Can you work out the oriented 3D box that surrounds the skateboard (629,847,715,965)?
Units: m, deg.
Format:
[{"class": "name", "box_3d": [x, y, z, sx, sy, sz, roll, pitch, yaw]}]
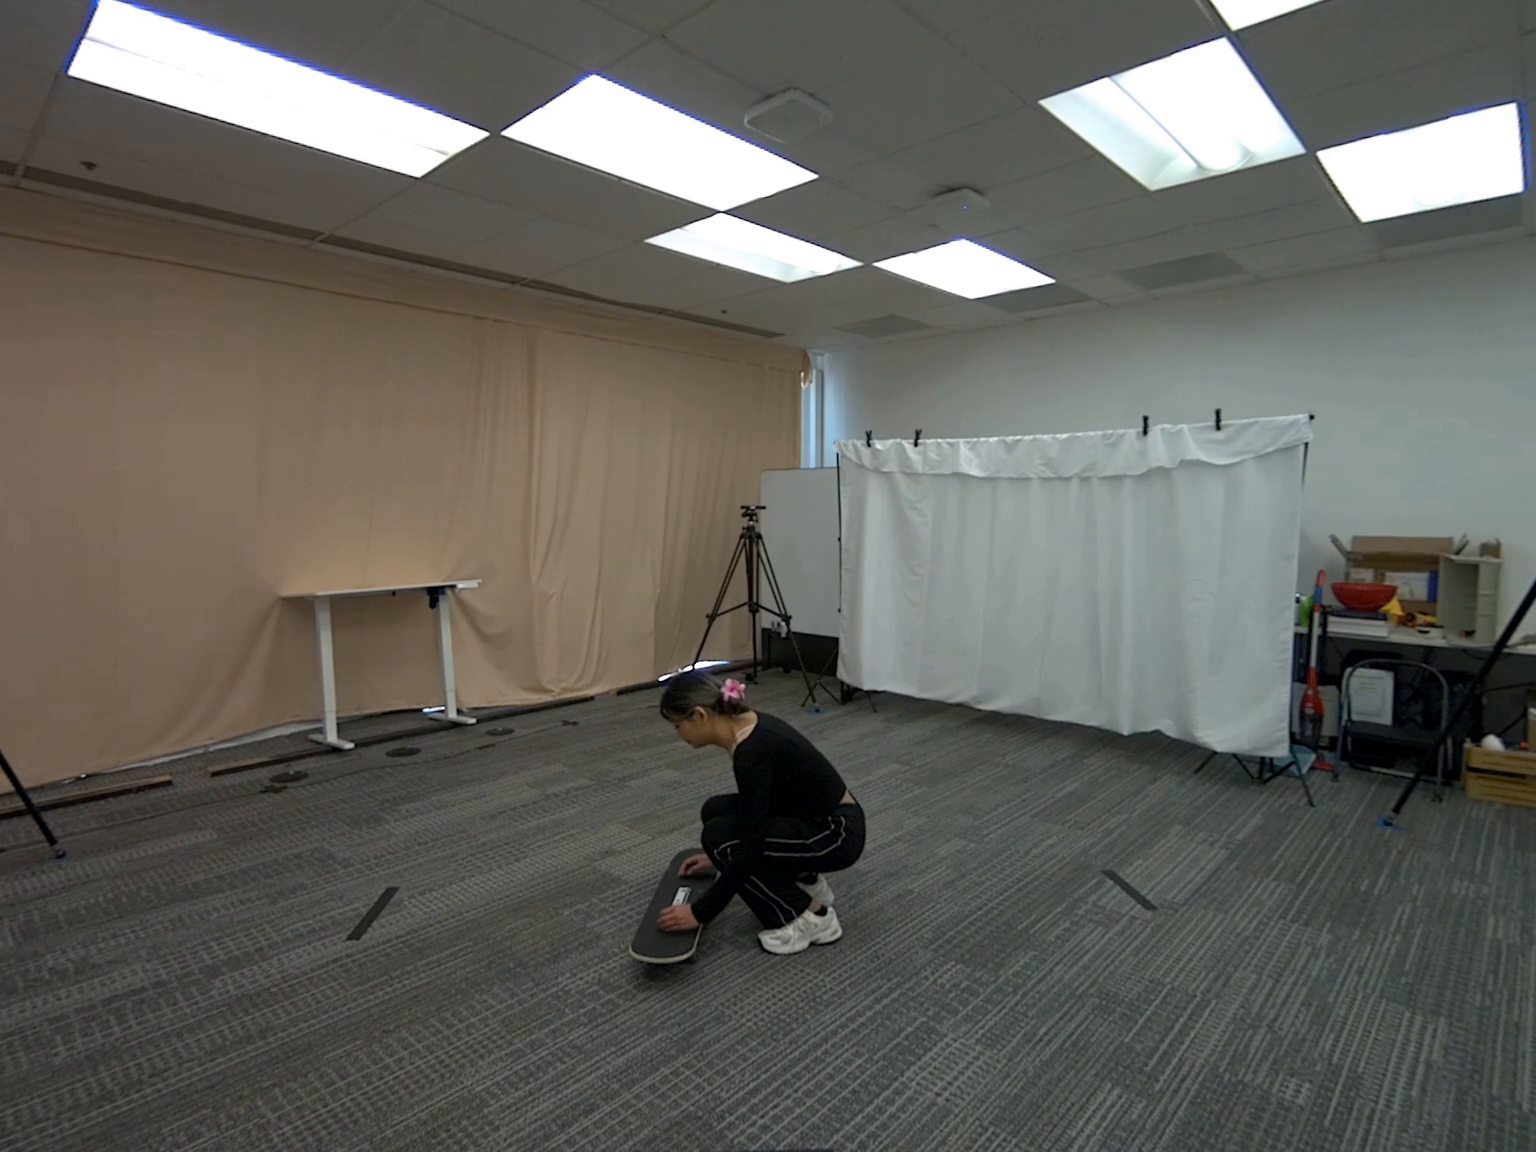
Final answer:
[{"class": "skateboard", "box_3d": [-0.286, 1.097, 2.785, 0.195, 0.110, 0.781, 0, 5, 5]}]
